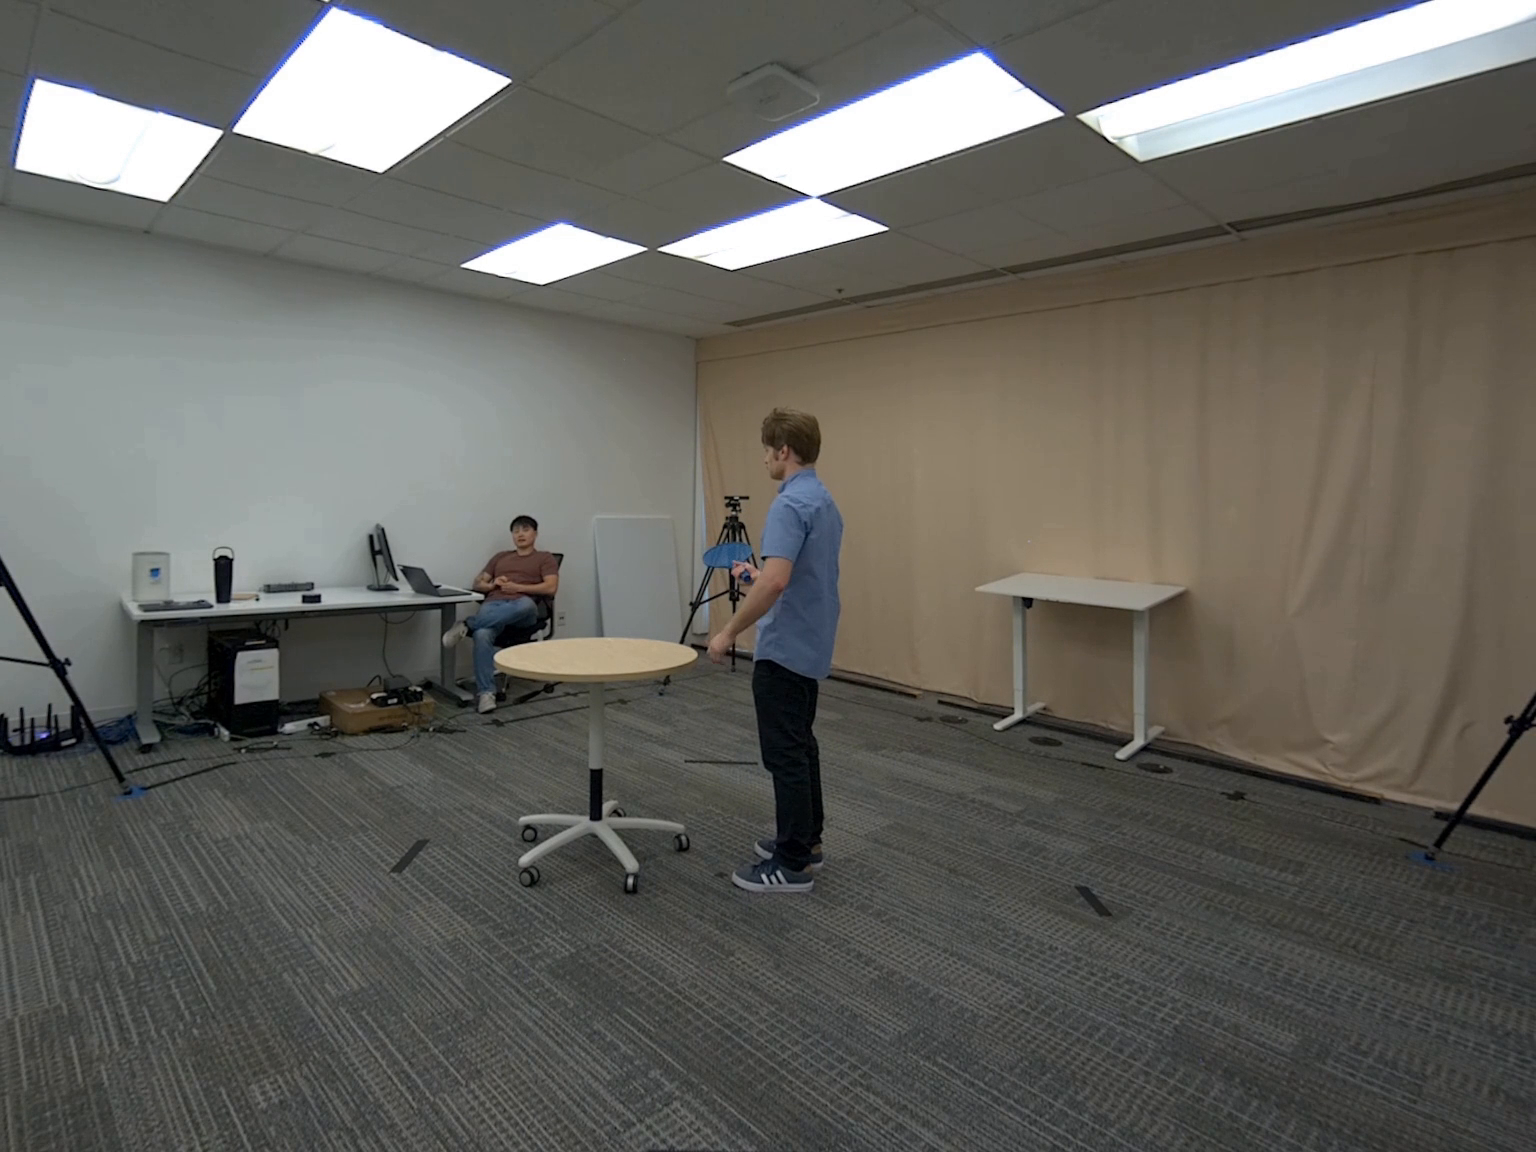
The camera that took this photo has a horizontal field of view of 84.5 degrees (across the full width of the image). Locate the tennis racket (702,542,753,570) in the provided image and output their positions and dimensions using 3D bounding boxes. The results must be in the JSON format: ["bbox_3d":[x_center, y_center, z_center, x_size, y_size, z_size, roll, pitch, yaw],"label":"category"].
[{"bbox_3d":[-0.165,-0.066,3.506,0.213,0.031,0.443,-17,23,-8],"label":"tennis racket"}]
